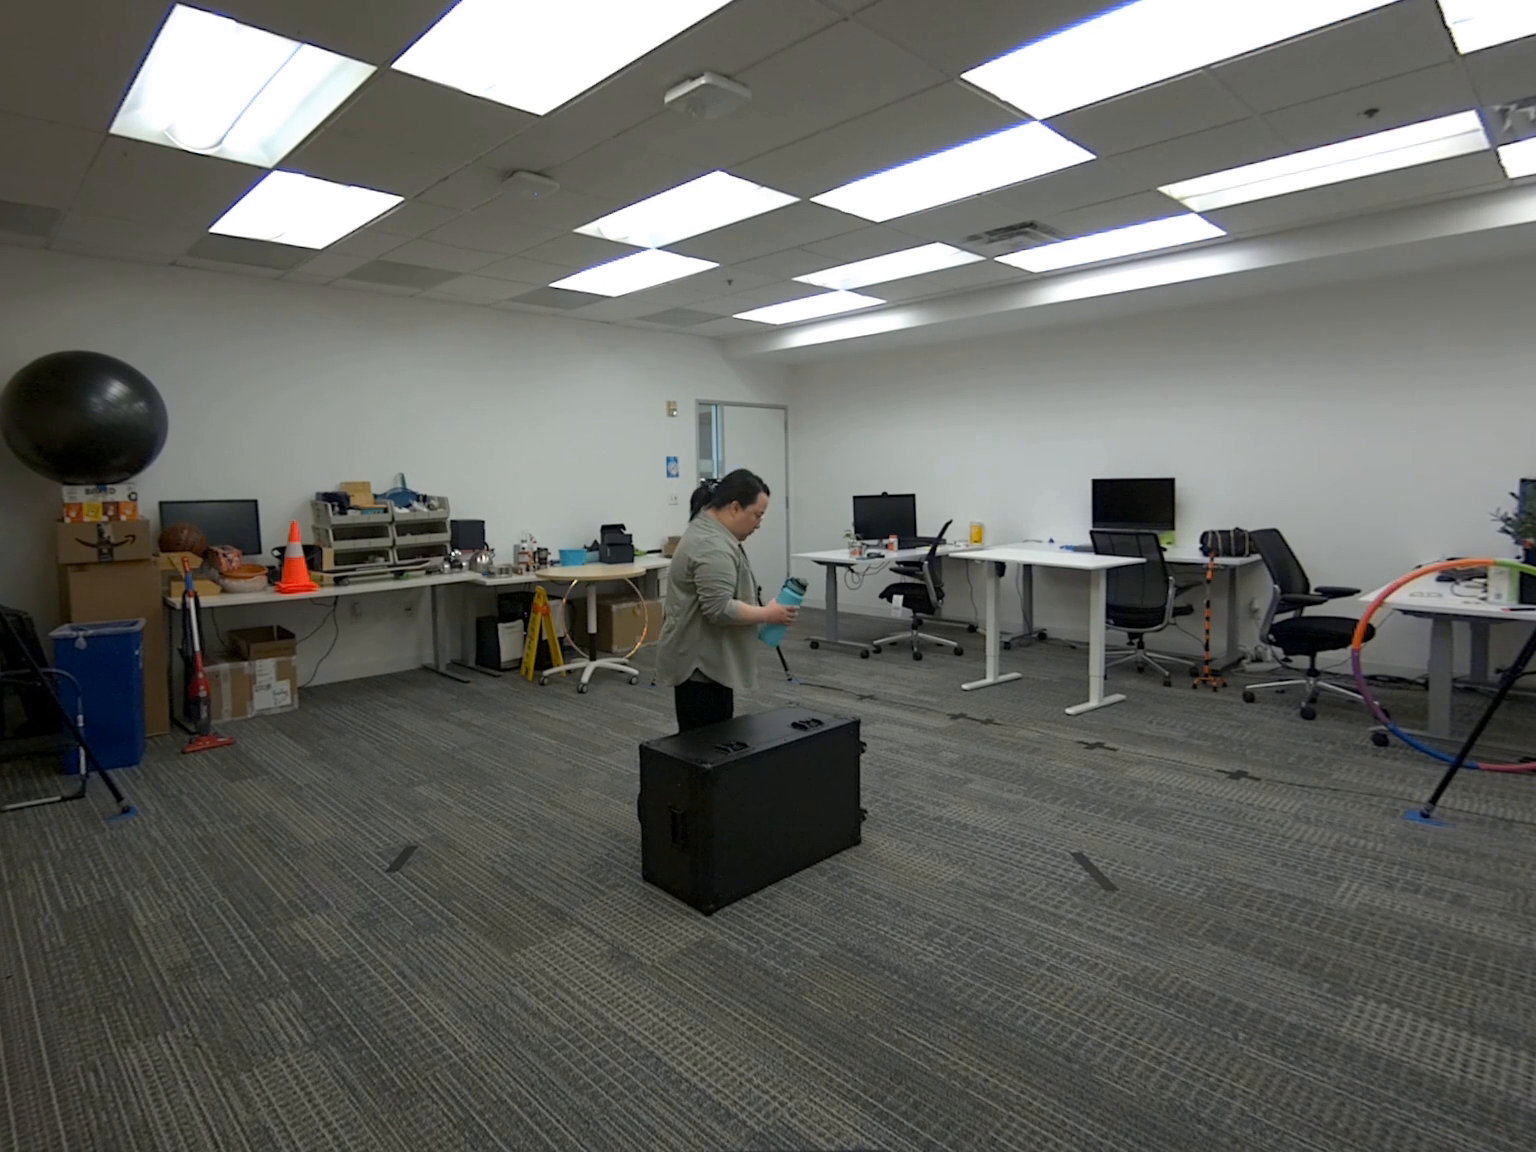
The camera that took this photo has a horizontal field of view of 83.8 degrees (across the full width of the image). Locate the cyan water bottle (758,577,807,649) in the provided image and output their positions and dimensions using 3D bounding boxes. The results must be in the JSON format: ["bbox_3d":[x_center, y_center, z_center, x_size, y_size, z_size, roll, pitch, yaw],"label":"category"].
[{"bbox_3d":[0.055,0.129,3.263,0.092,0.283,0.093,27,4,-4],"label":"cyan water bottle"}]
